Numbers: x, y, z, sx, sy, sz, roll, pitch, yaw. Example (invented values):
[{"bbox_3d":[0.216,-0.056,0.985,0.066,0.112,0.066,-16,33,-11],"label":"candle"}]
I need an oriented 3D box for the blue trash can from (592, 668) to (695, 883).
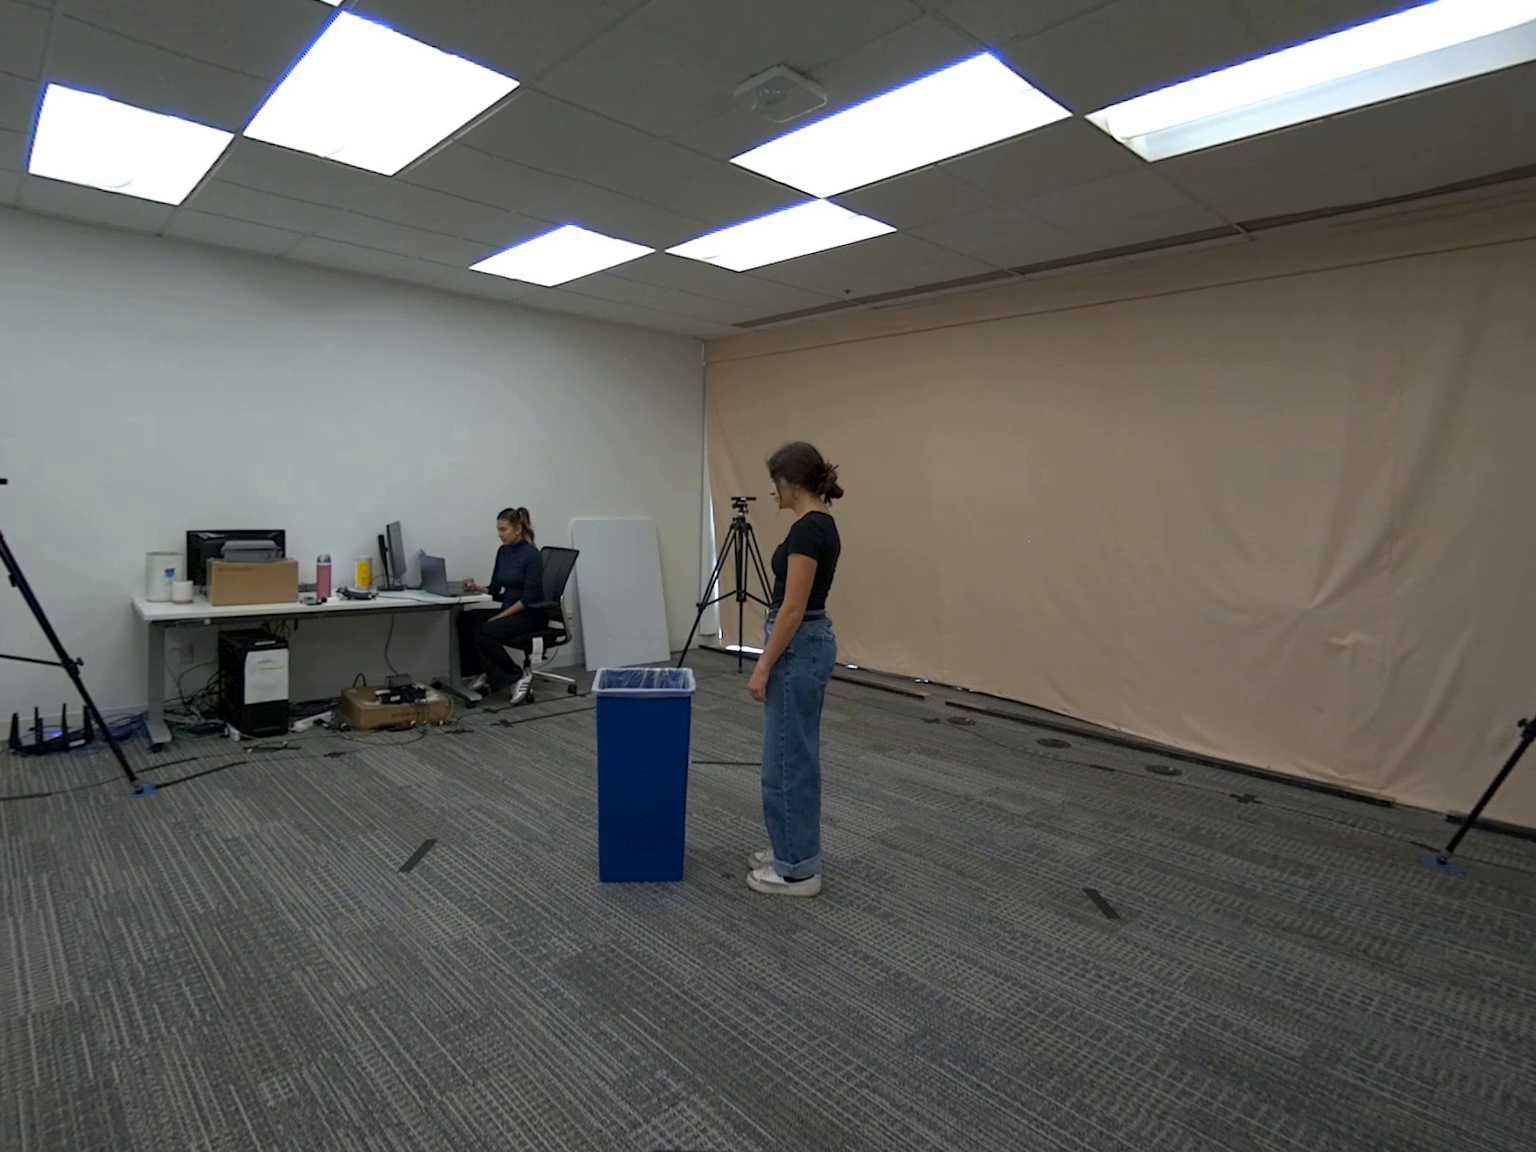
[{"bbox_3d":[-0.469,0.736,3.164,0.376,0.712,0.377,0,3,-7],"label":"blue trash can"}]
